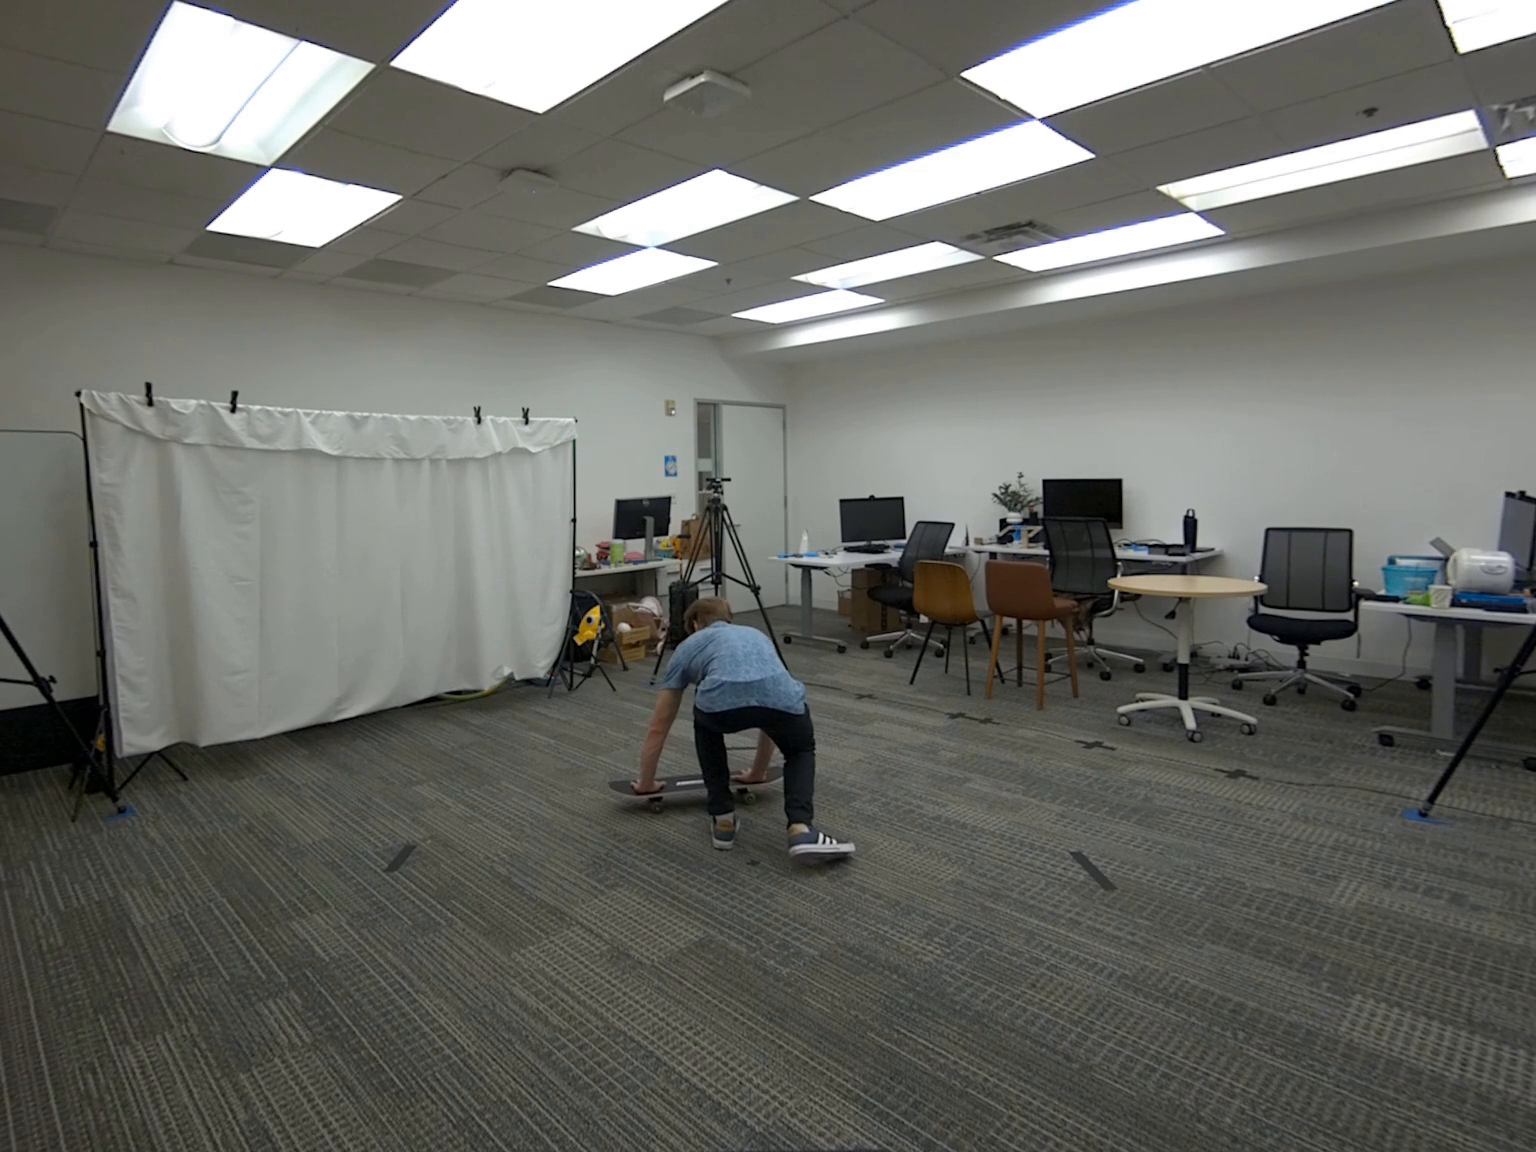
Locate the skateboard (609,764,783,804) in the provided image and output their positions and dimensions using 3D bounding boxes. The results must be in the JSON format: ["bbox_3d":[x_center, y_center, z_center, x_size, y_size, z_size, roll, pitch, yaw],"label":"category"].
[{"bbox_3d":[-0.293,0.924,3.697,0.777,0.110,0.196,-2,4,-11],"label":"skateboard"}]
